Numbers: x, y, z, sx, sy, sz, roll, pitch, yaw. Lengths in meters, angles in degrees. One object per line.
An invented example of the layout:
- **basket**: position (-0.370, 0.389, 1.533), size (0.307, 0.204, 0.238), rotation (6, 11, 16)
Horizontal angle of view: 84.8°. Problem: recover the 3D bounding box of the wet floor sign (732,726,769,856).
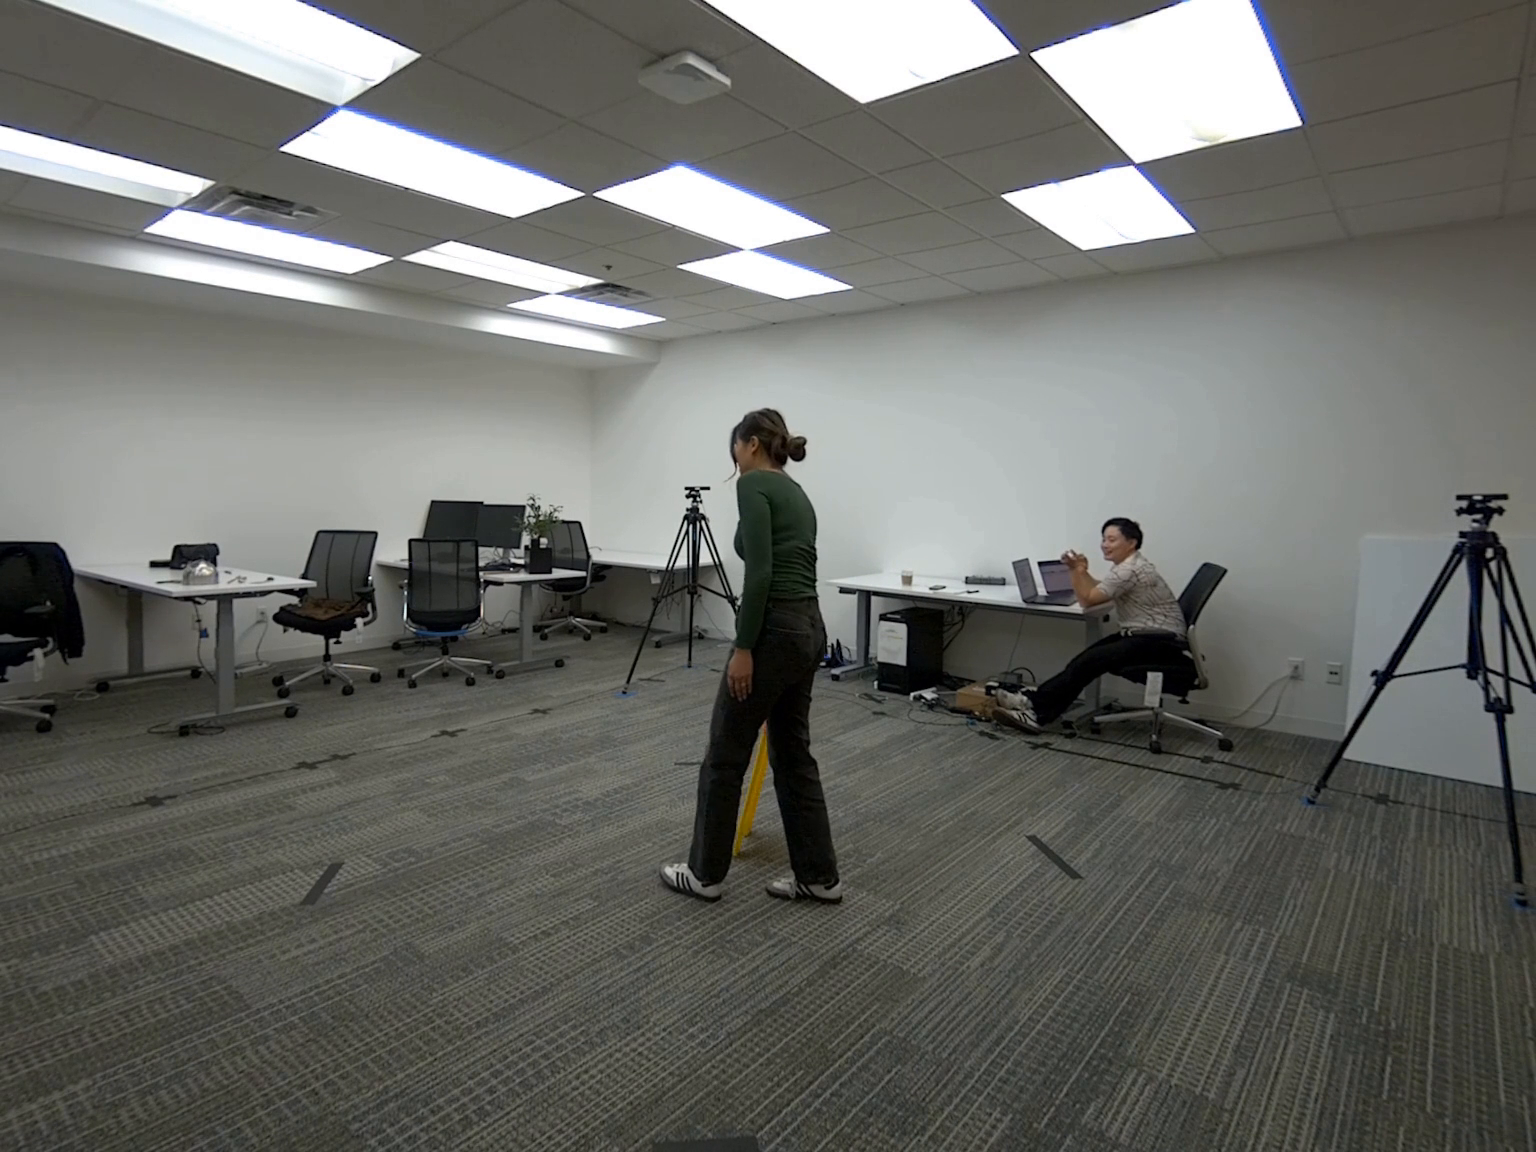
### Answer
- **wet floor sign**: position (0.033, 0.726, 3.281), size (0.294, 0.645, 0.279), rotation (1, 2, 13)
